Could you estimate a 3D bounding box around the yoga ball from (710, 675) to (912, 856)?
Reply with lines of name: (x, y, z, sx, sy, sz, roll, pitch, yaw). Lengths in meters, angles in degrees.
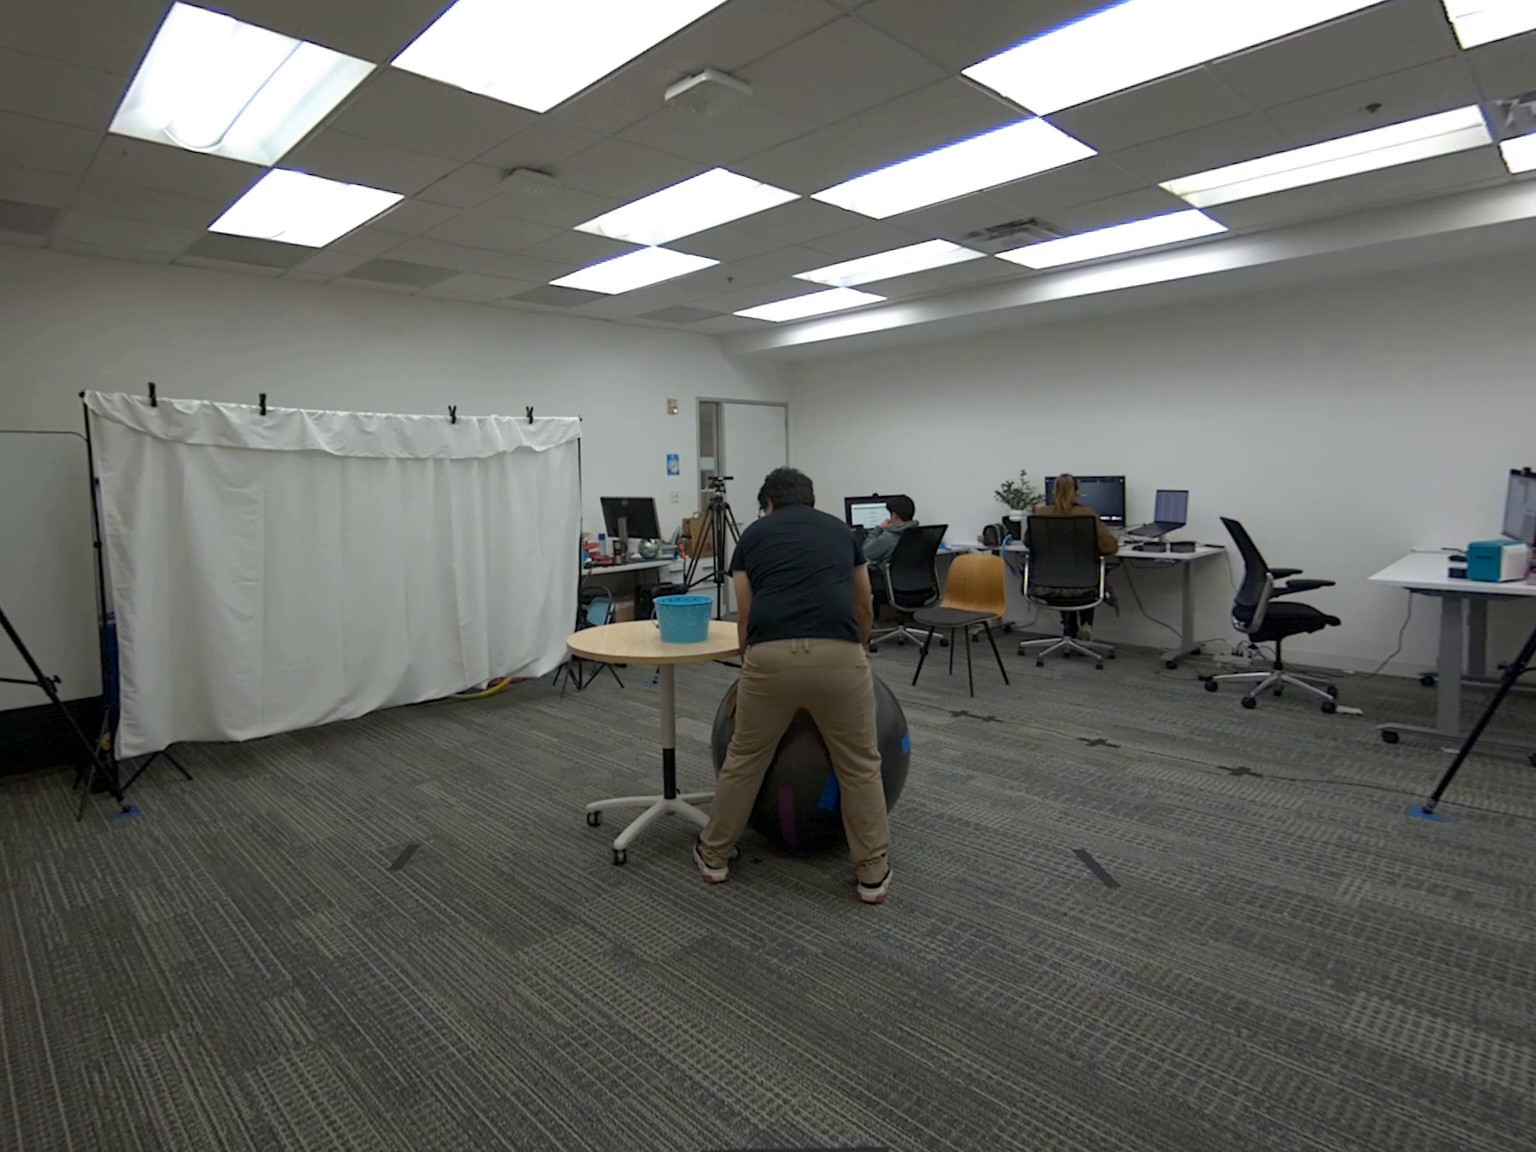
yoga ball: (0.171, 0.664, 3.311, 0.757, 0.755, 0.762, -1, 5, -2)
